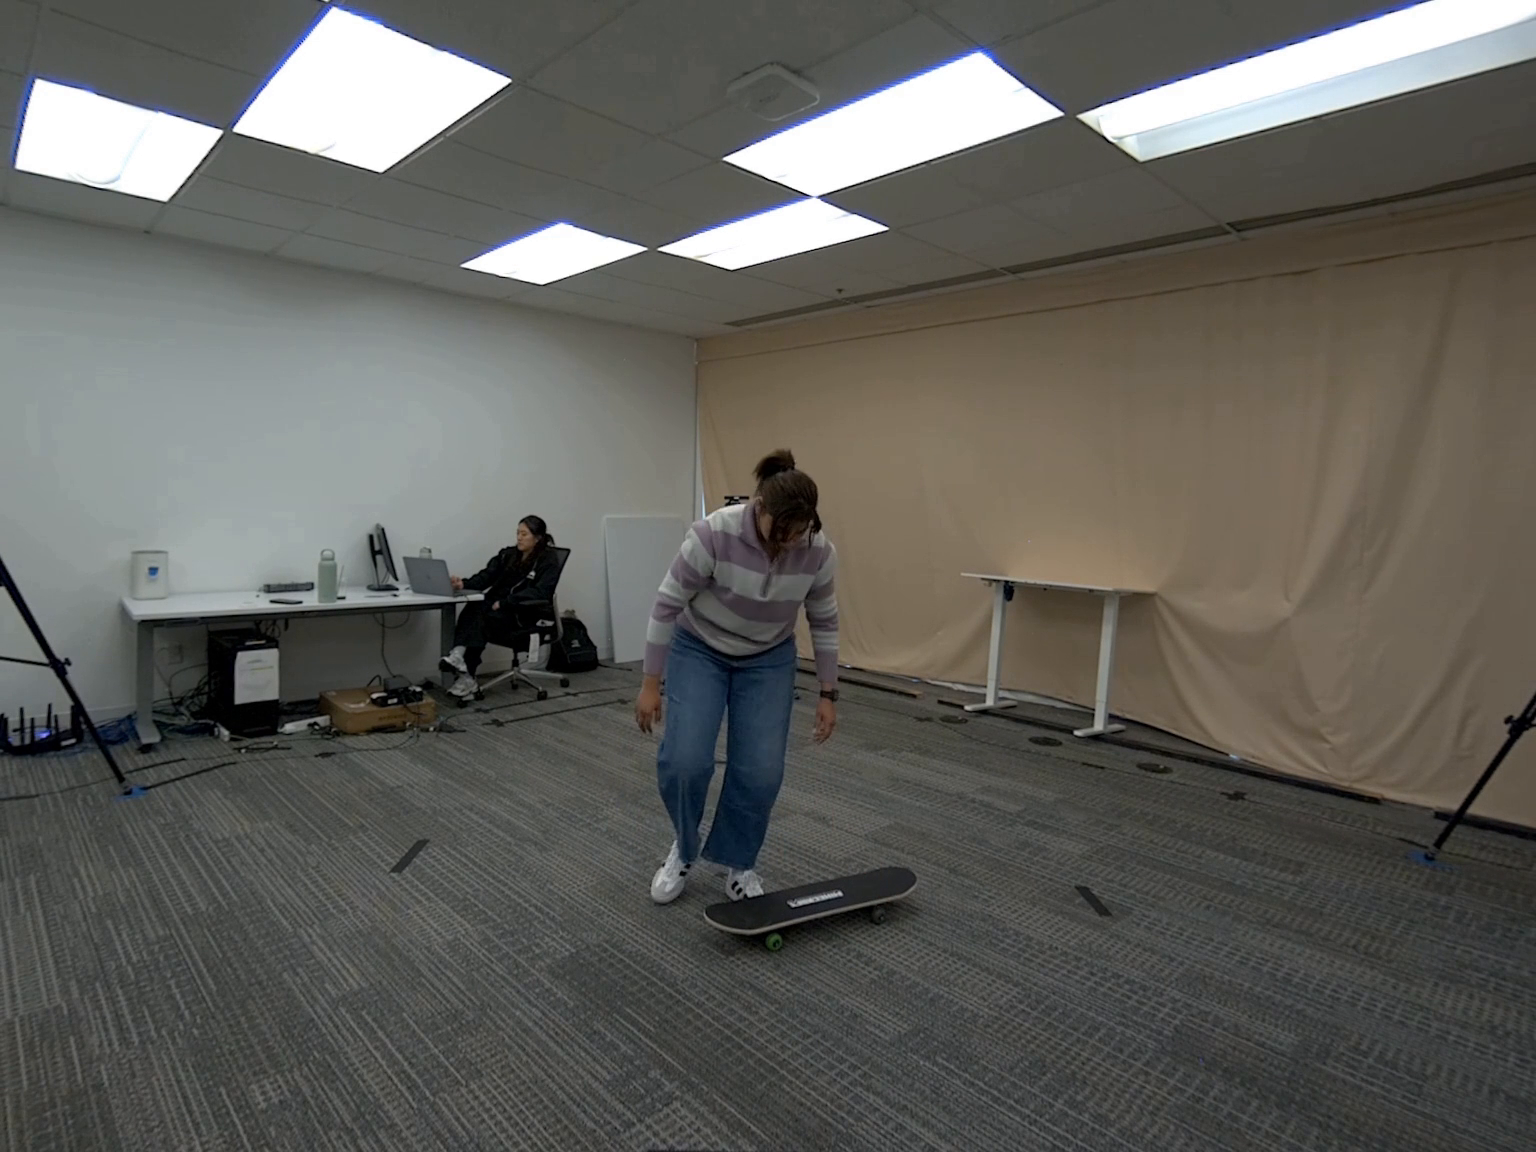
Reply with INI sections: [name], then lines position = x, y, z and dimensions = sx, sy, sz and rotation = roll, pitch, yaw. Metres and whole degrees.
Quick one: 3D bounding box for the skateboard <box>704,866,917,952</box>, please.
[skateboard]
position = 0.153, 1.081, 2.750
dimensions = 0.771, 0.110, 0.198
rotation = -2, 6, -27
